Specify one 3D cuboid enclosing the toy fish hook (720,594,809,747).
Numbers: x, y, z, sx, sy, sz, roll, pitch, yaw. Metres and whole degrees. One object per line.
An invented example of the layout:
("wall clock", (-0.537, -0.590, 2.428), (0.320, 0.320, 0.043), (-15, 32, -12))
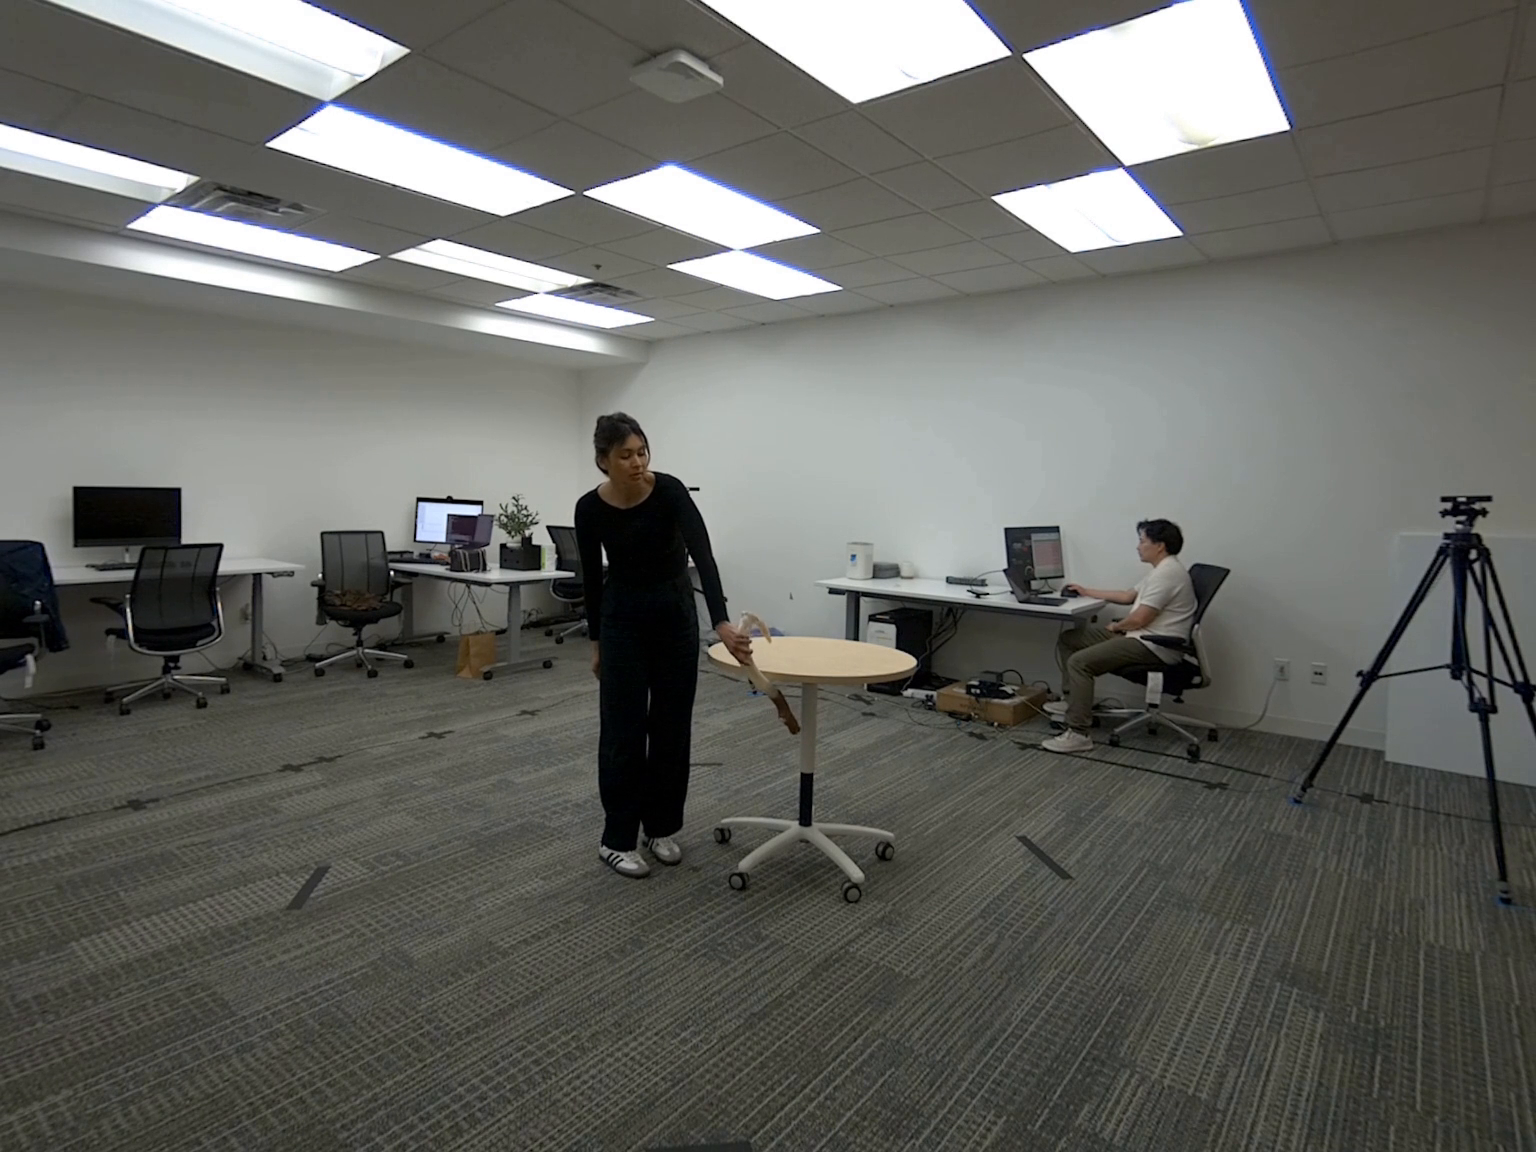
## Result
("toy fish hook", (-0.003, 0.325, 2.847), (0.049, 0.489, 0.227), (-10, 36, 27))
